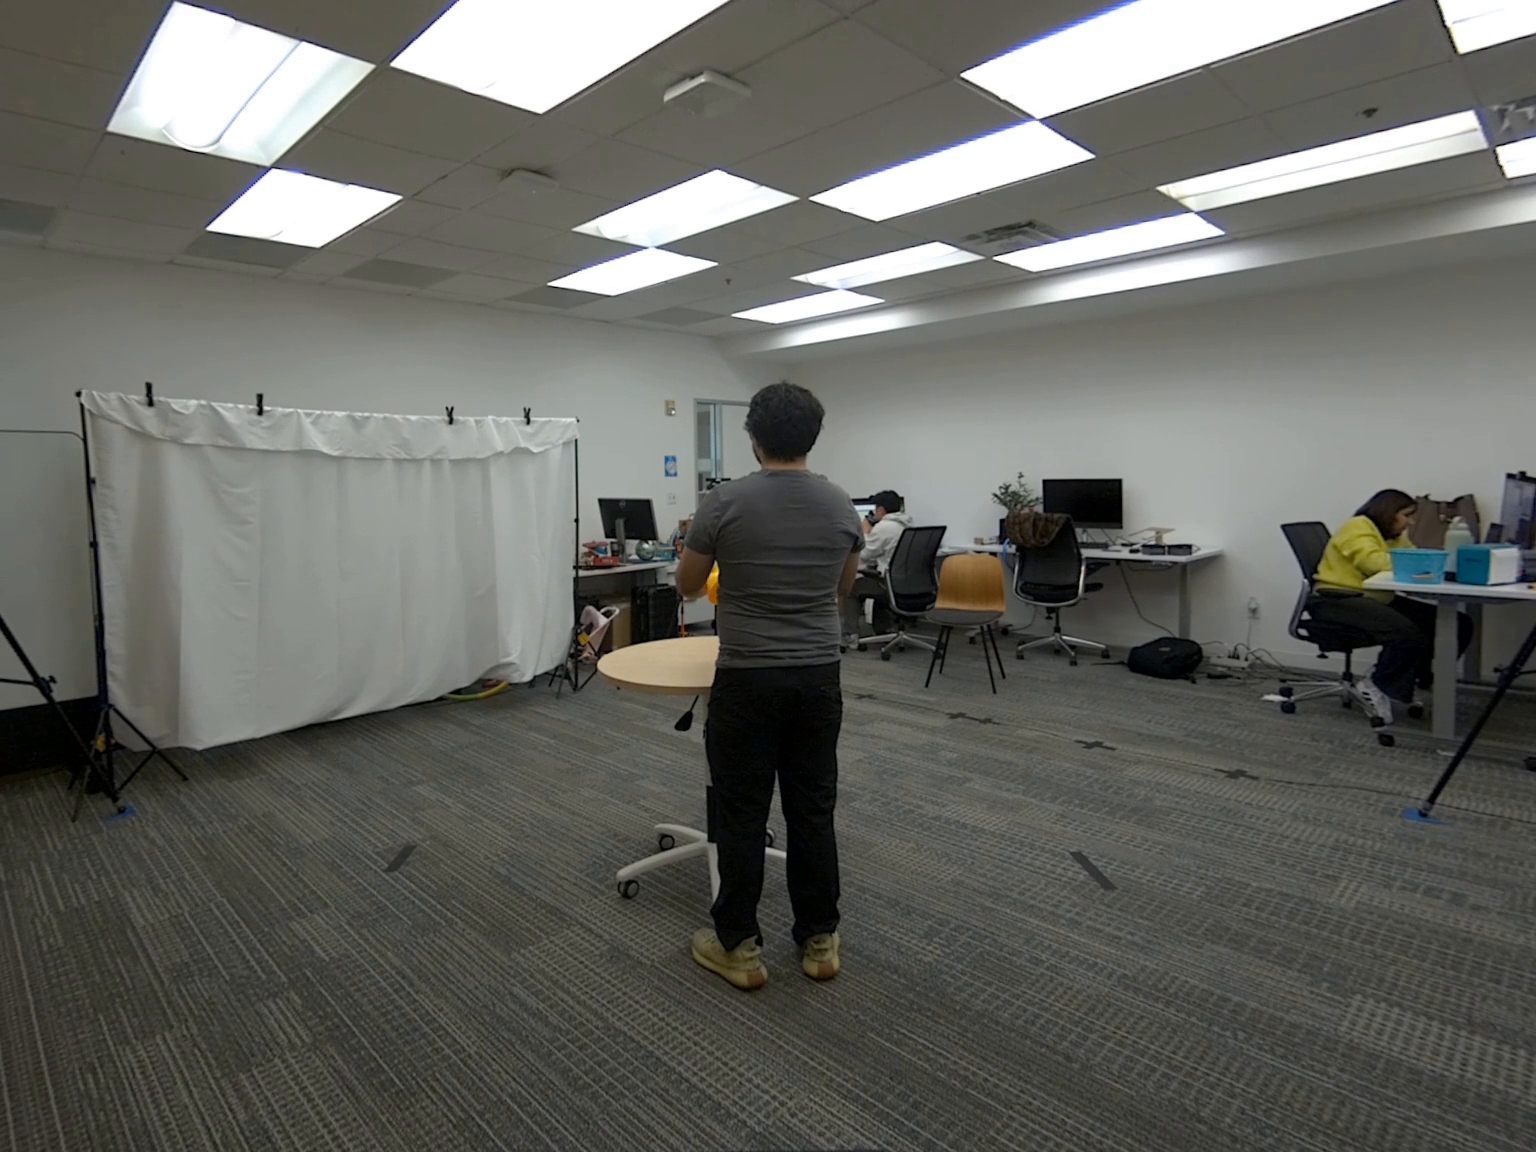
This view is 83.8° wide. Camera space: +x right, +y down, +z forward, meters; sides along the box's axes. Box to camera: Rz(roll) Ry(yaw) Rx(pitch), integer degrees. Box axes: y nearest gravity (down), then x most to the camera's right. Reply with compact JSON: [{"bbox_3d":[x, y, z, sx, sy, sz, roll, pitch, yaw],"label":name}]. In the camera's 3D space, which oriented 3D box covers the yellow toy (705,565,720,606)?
[{"bbox_3d":[-0.116,-0.041,2.780,0.201,0.239,0.190,-4,-40,-20],"label":"yellow toy"}]
